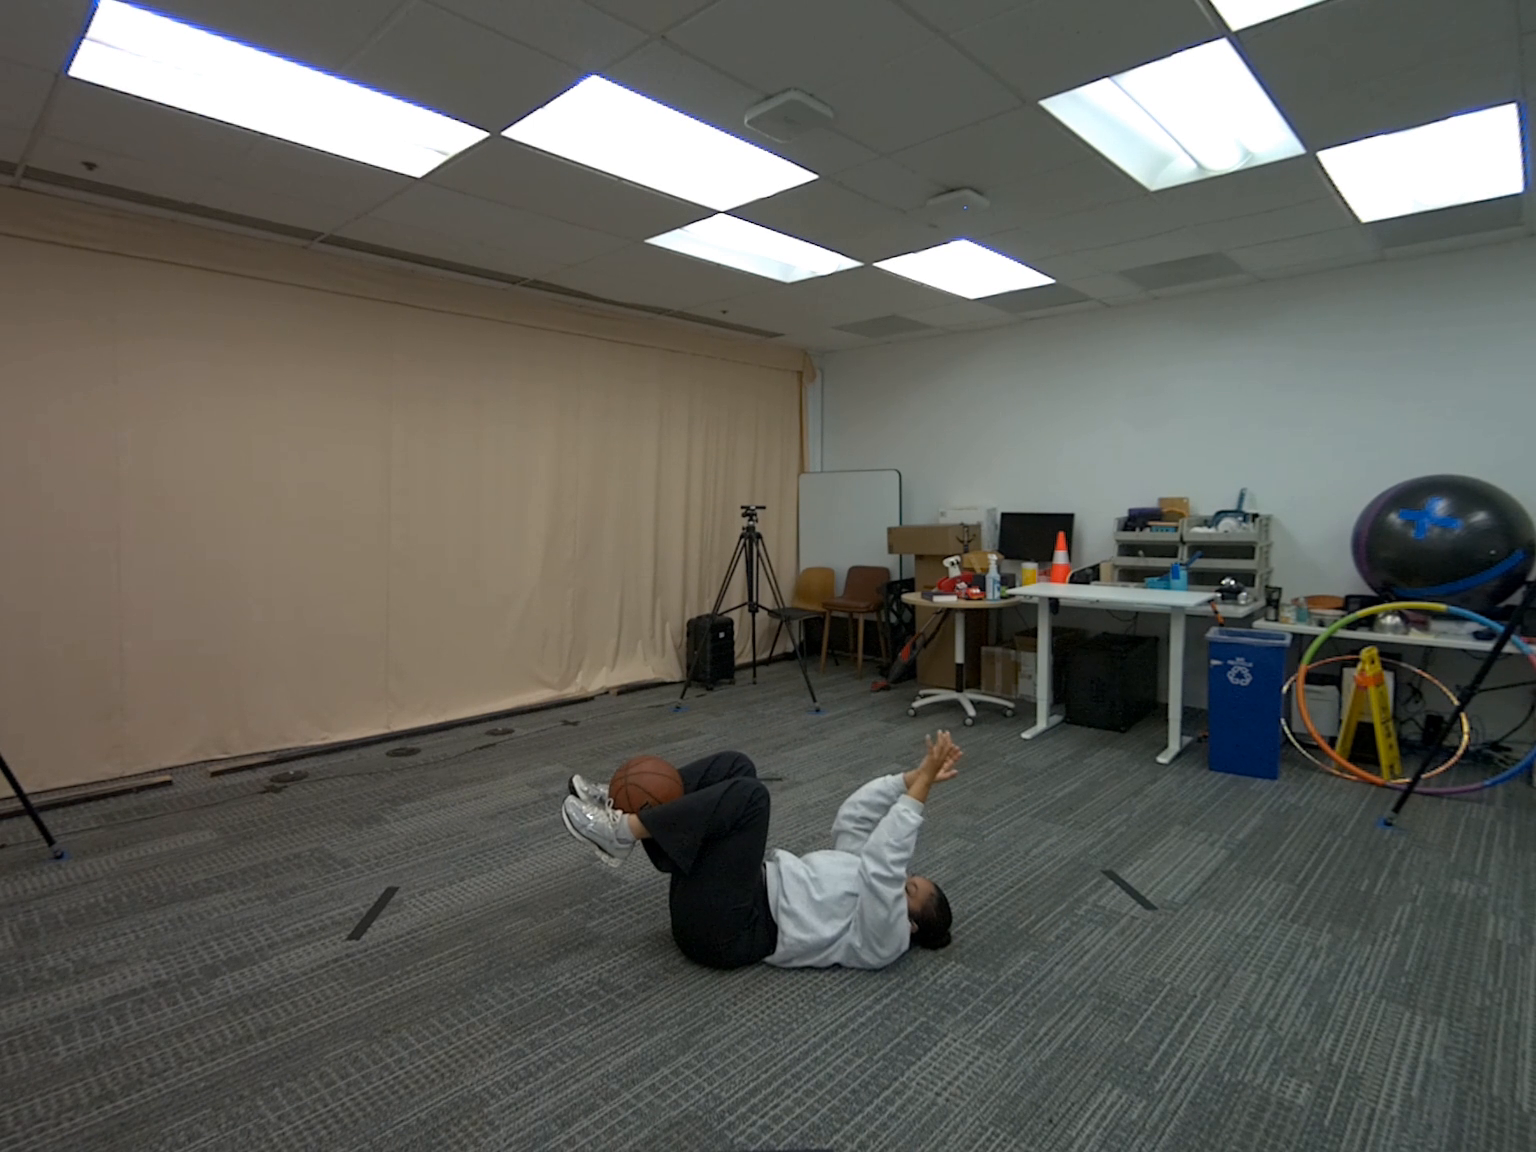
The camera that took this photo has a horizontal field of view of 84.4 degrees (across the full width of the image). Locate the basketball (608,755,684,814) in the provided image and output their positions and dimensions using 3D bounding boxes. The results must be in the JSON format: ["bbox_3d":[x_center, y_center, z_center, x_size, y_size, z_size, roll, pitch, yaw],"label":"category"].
[{"bbox_3d":[-0.387,0.682,2.647,0.236,0.235,0.237,0,4,-2],"label":"basketball"}]
